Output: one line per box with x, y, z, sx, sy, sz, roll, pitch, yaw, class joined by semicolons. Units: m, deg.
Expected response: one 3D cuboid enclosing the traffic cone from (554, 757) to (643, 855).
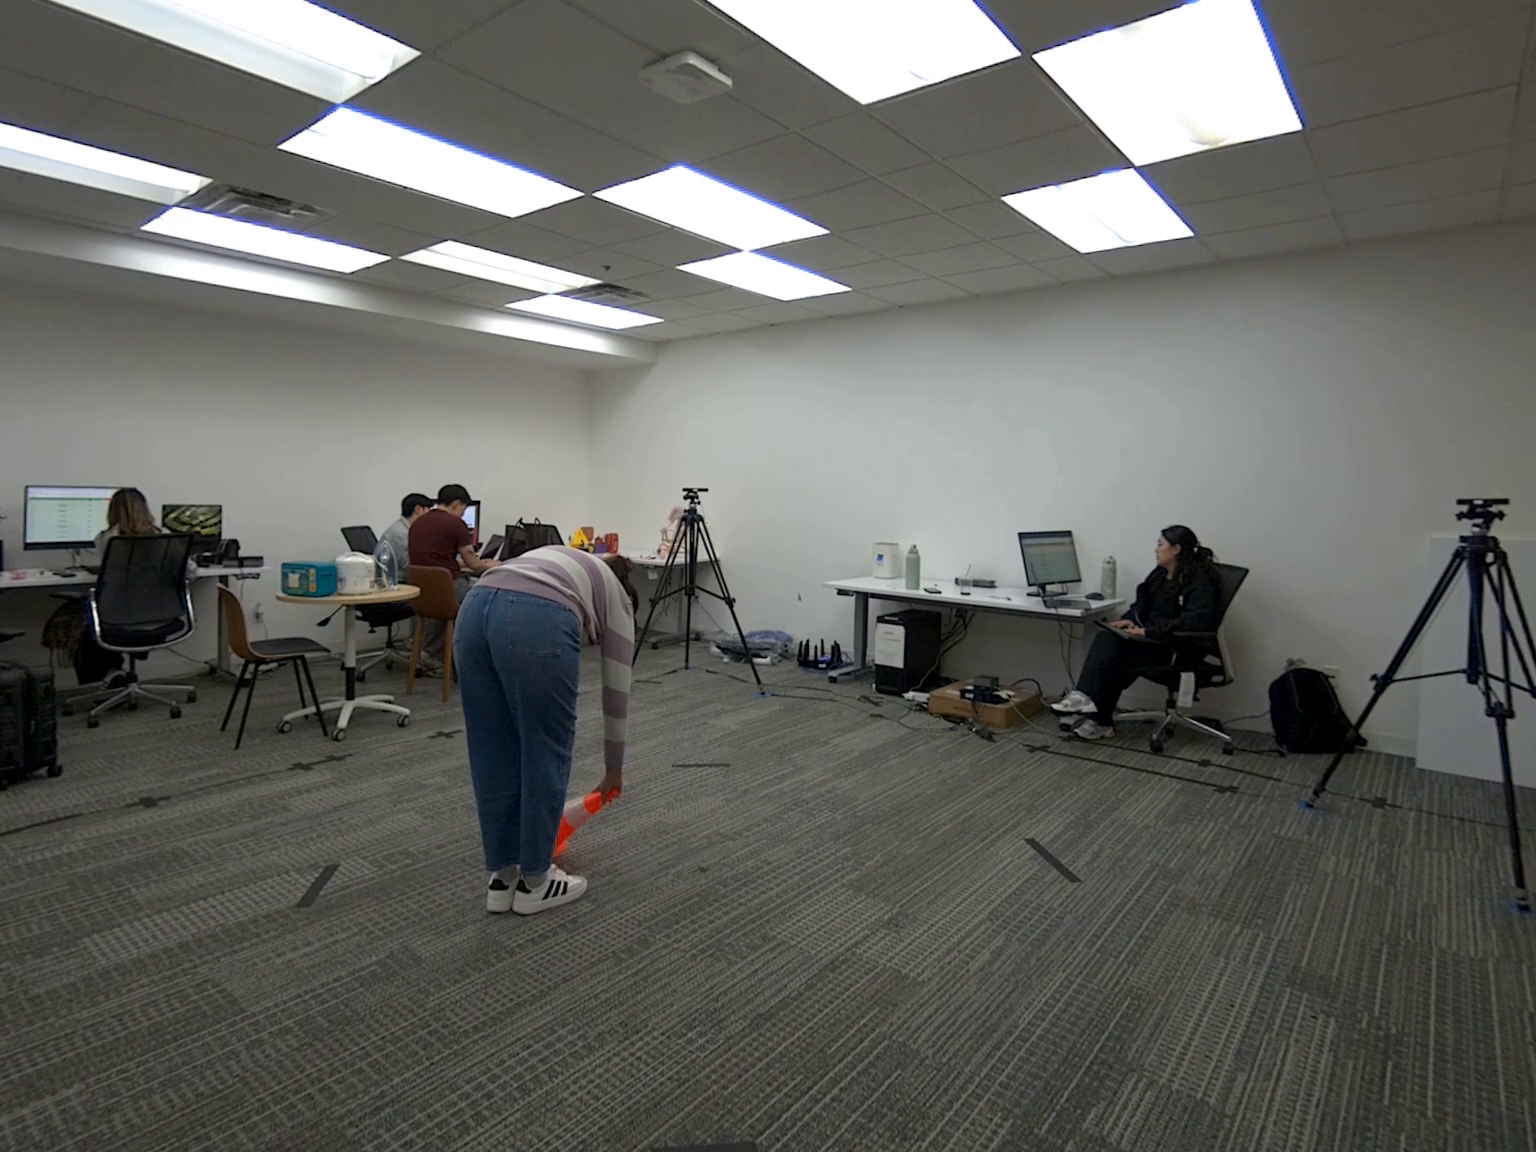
-0.709;0.861;3.141;0.386;0.209;0.199;-35;-12;20;traffic cone
